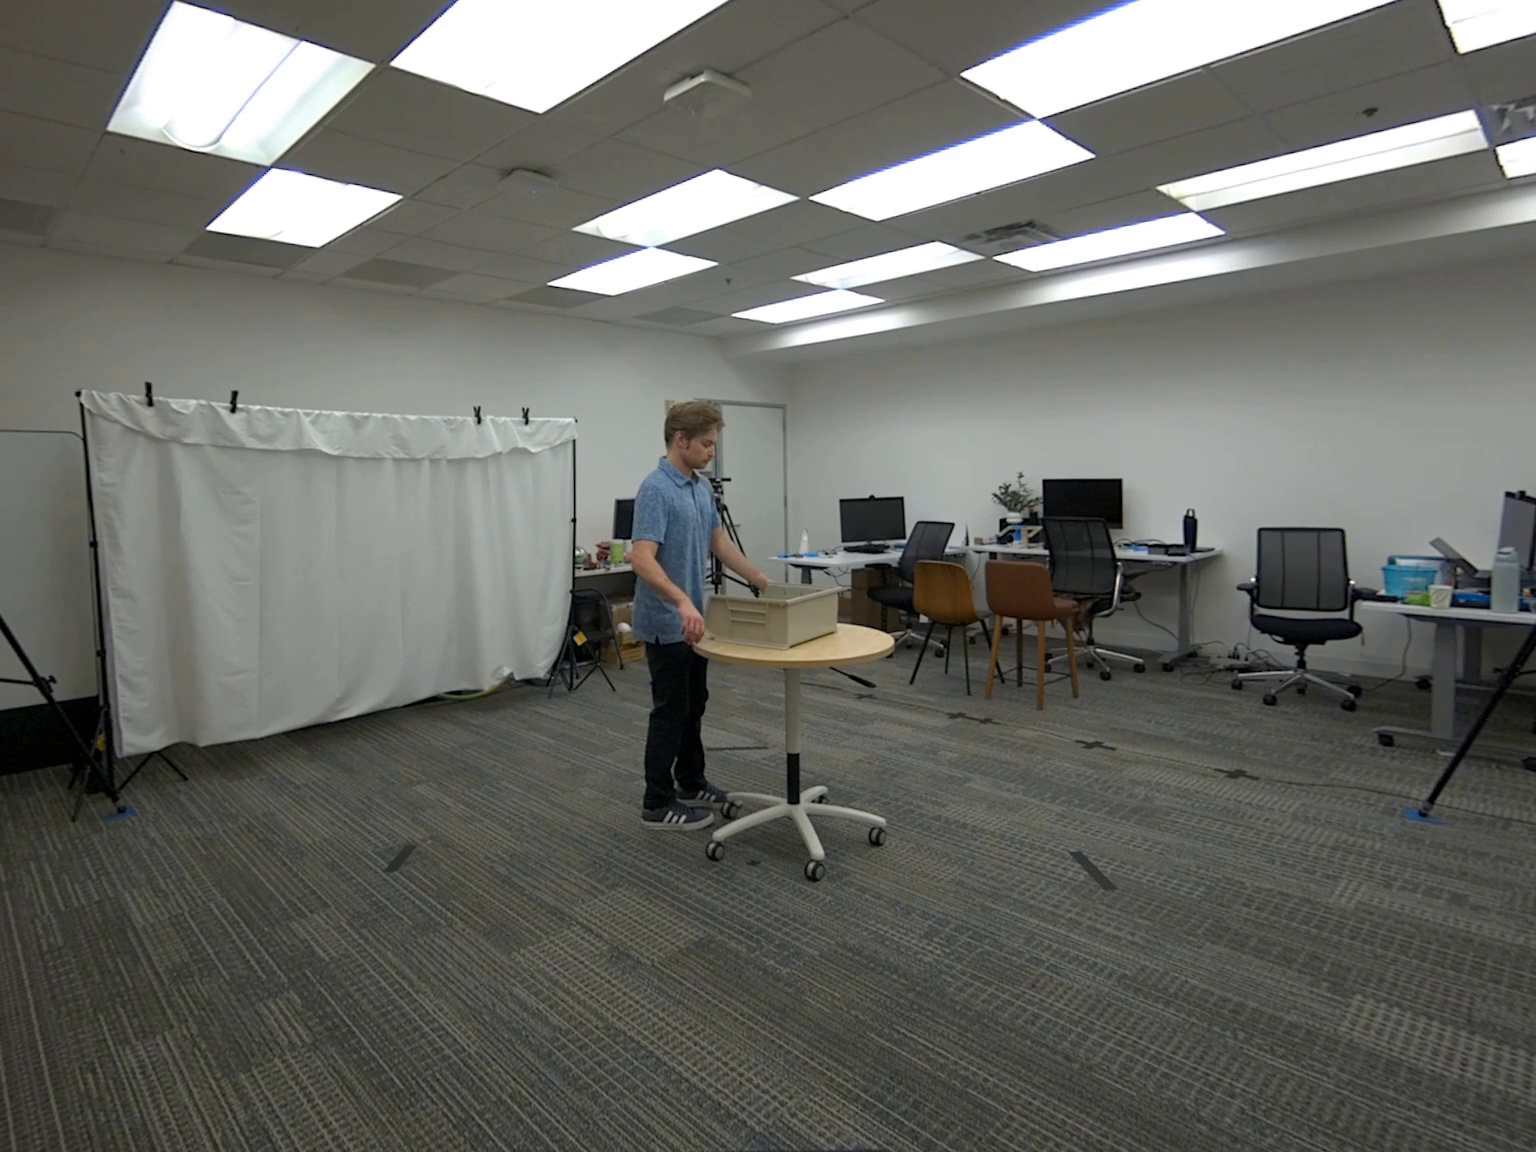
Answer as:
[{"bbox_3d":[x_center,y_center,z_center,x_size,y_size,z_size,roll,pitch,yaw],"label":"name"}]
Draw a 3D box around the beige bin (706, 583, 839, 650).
[{"bbox_3d":[0.021,0.147,3.304,0.388,0.188,0.412,5,8,33],"label":"beige bin"}]
